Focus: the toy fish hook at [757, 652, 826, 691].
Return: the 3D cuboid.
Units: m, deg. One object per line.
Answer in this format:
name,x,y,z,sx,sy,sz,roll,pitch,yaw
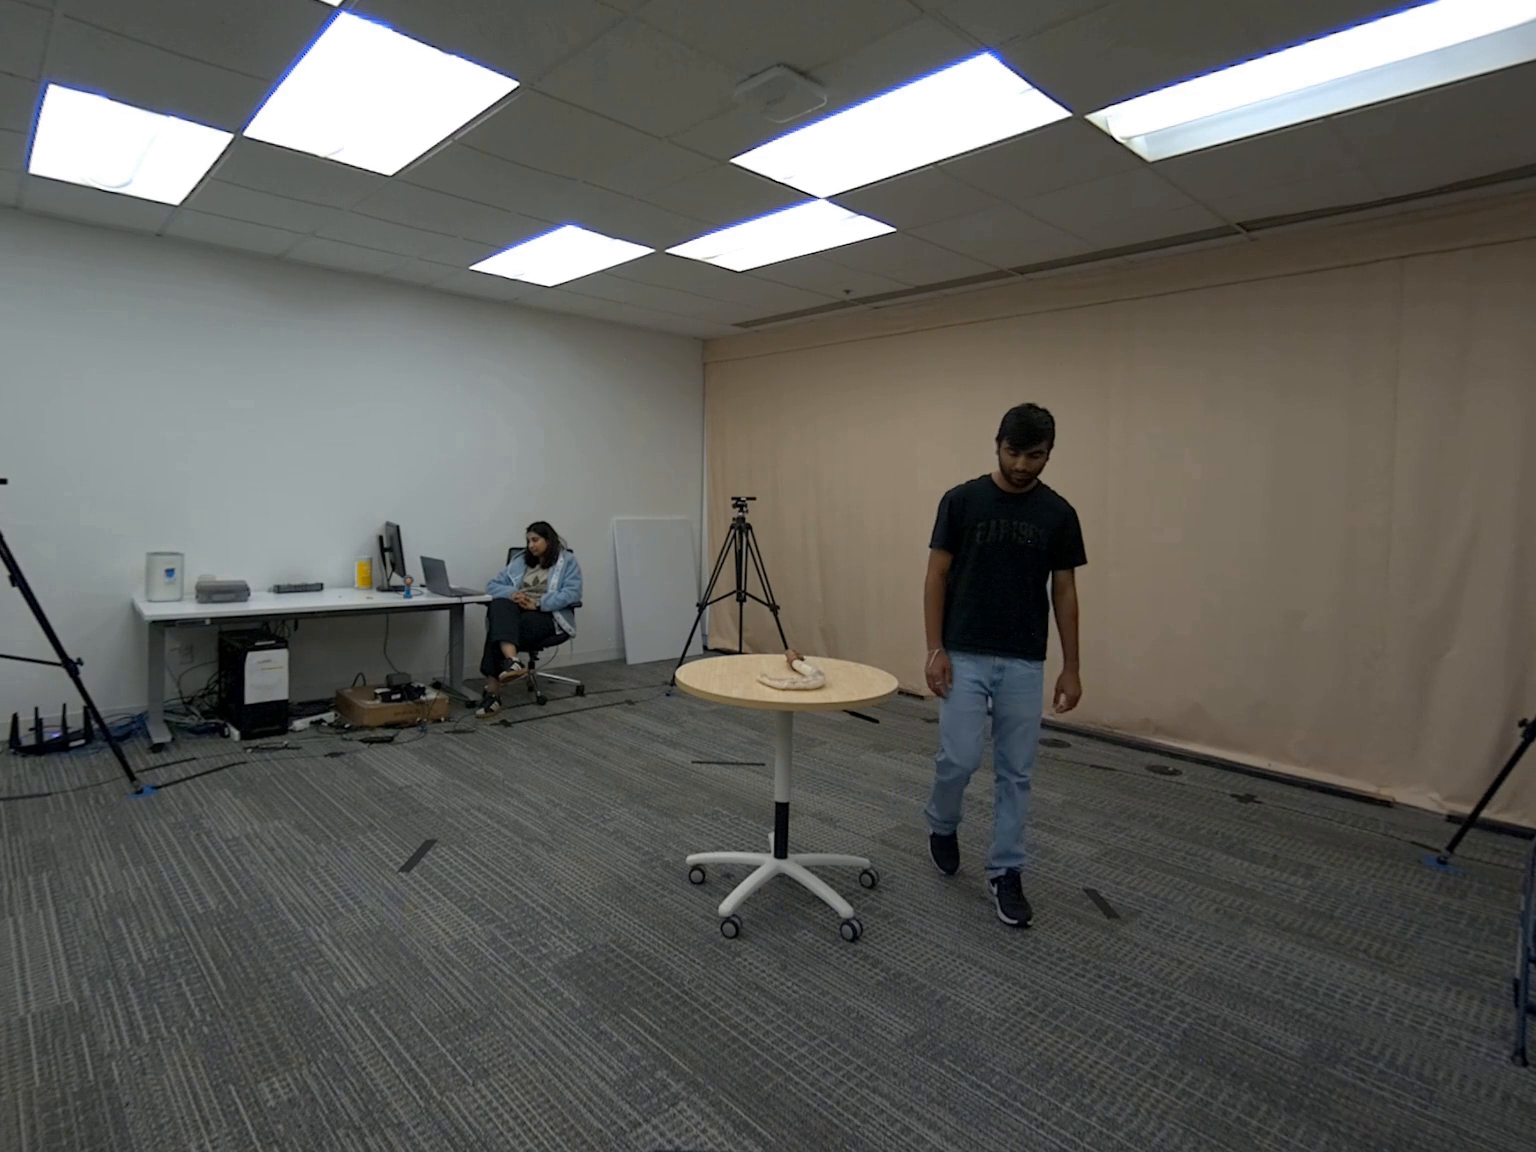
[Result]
toy fish hook,0.066,0.324,2.927,0.223,0.048,0.510,5,6,-7
